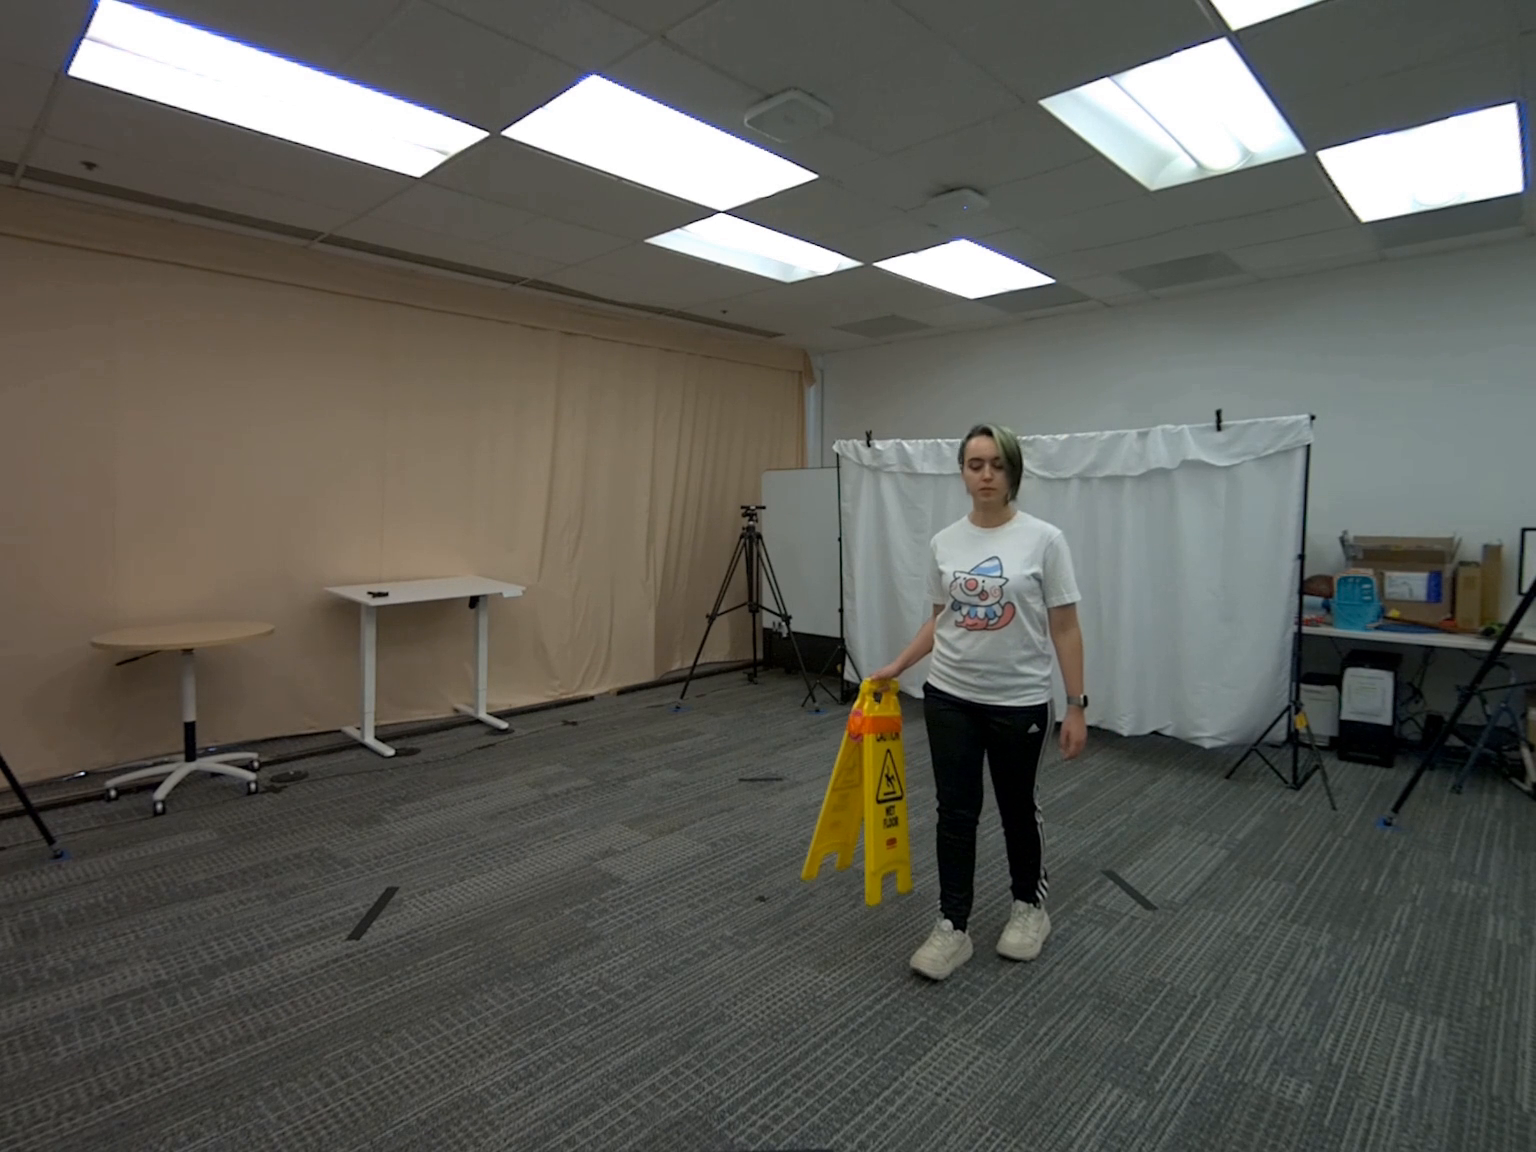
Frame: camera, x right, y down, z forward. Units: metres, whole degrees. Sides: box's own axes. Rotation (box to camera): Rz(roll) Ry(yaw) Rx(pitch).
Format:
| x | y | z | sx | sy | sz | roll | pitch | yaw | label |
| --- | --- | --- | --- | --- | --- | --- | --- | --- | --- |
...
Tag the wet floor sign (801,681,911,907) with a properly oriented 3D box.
| x | y | z | sx | sy | sz | roll | pitch | yaw | label |
| --- | --- | --- | --- | --- | --- | --- | --- | --- | --- |
| 0.321 | 0.651 | 2.656 | 0.299 | 0.647 | 0.272 | 3 | -5 | 38 | wet floor sign |
